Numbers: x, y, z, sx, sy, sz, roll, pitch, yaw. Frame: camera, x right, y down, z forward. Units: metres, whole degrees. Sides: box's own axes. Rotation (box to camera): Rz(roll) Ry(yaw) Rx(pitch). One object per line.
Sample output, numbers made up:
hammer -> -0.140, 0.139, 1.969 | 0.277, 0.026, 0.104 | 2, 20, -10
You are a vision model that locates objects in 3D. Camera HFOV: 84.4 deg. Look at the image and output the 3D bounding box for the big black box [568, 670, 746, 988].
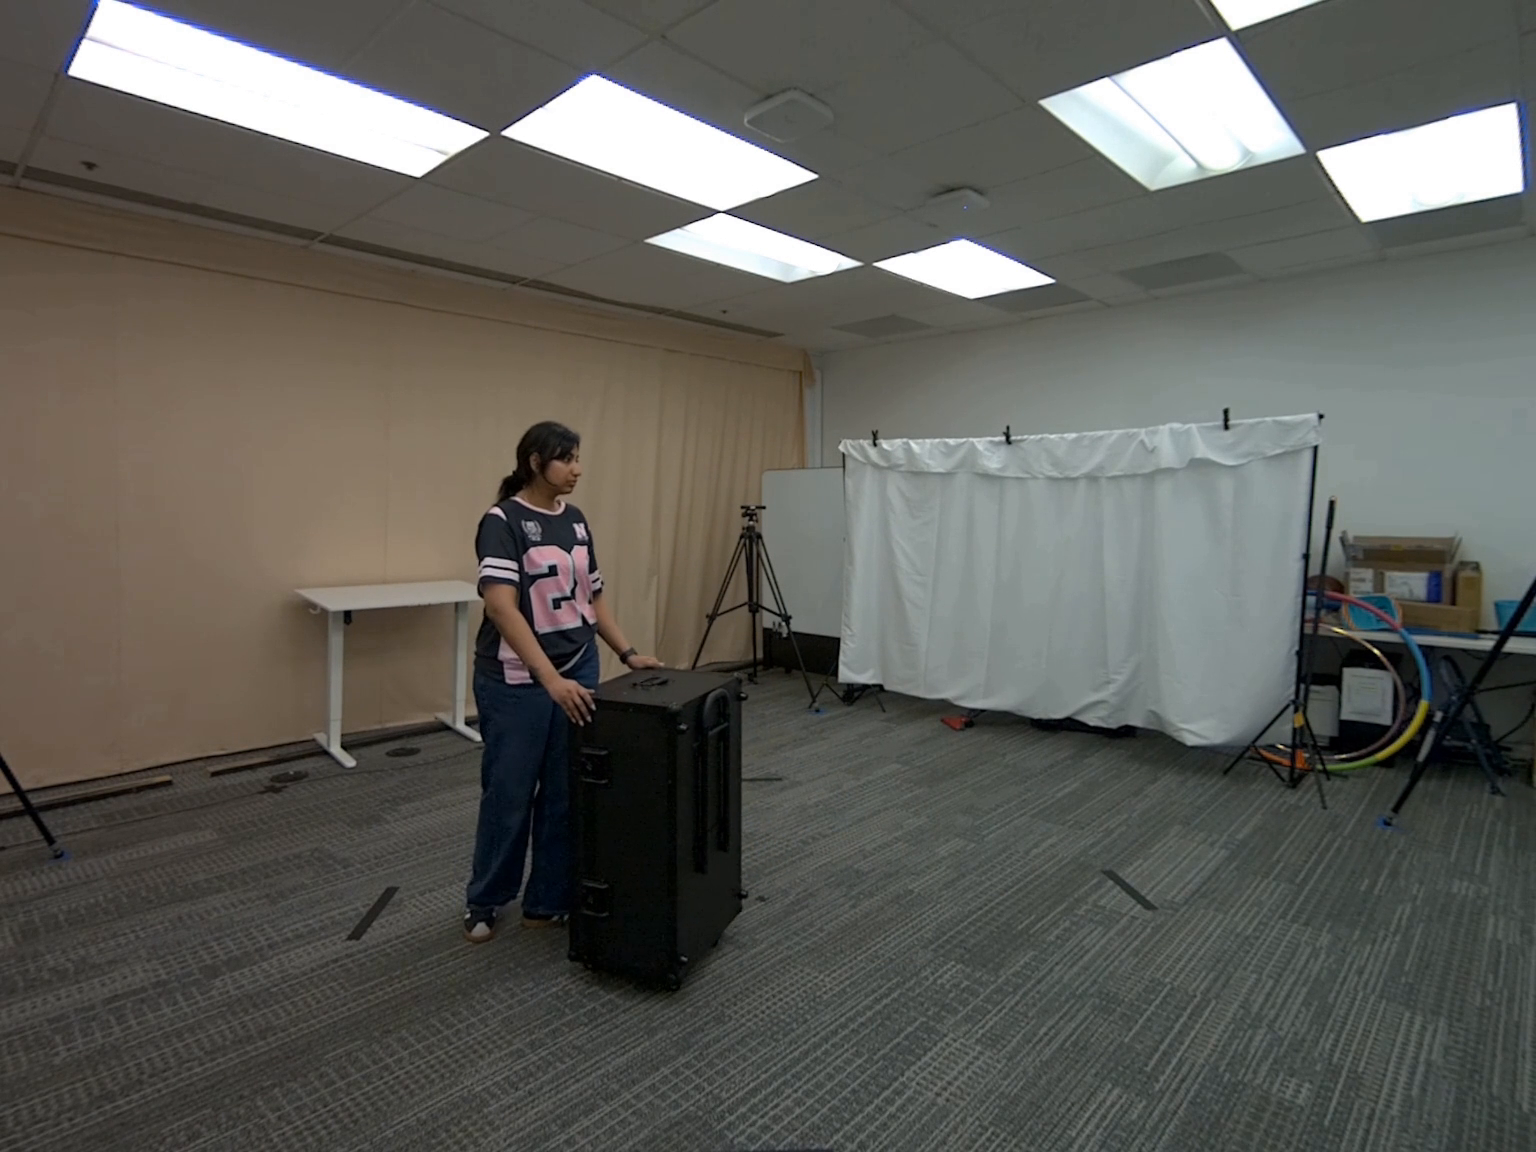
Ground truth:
big black box -> -0.323, 0.759, 2.585 | 0.394, 0.866, 0.513 | 2, 4, 20
